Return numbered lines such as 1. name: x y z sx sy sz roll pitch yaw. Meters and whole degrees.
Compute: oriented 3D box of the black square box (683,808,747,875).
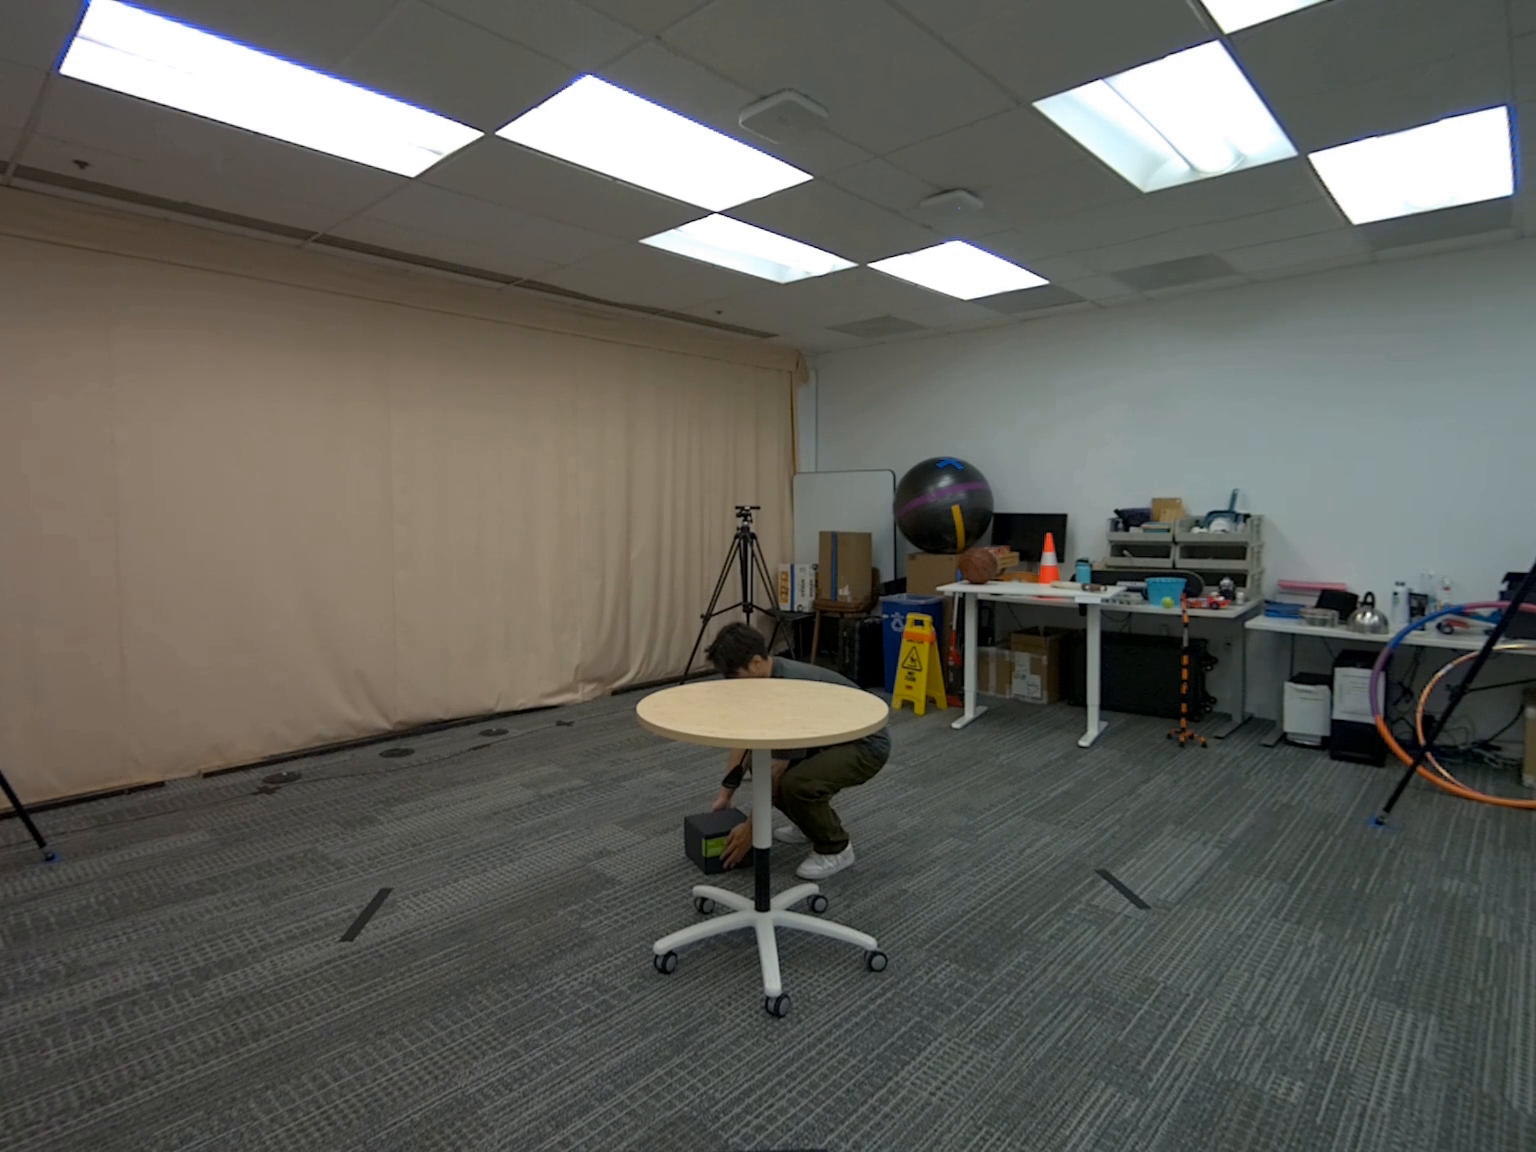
1. black square box: -0.183 1.034 3.313 0.222 0.155 0.223 -3 5 -27
